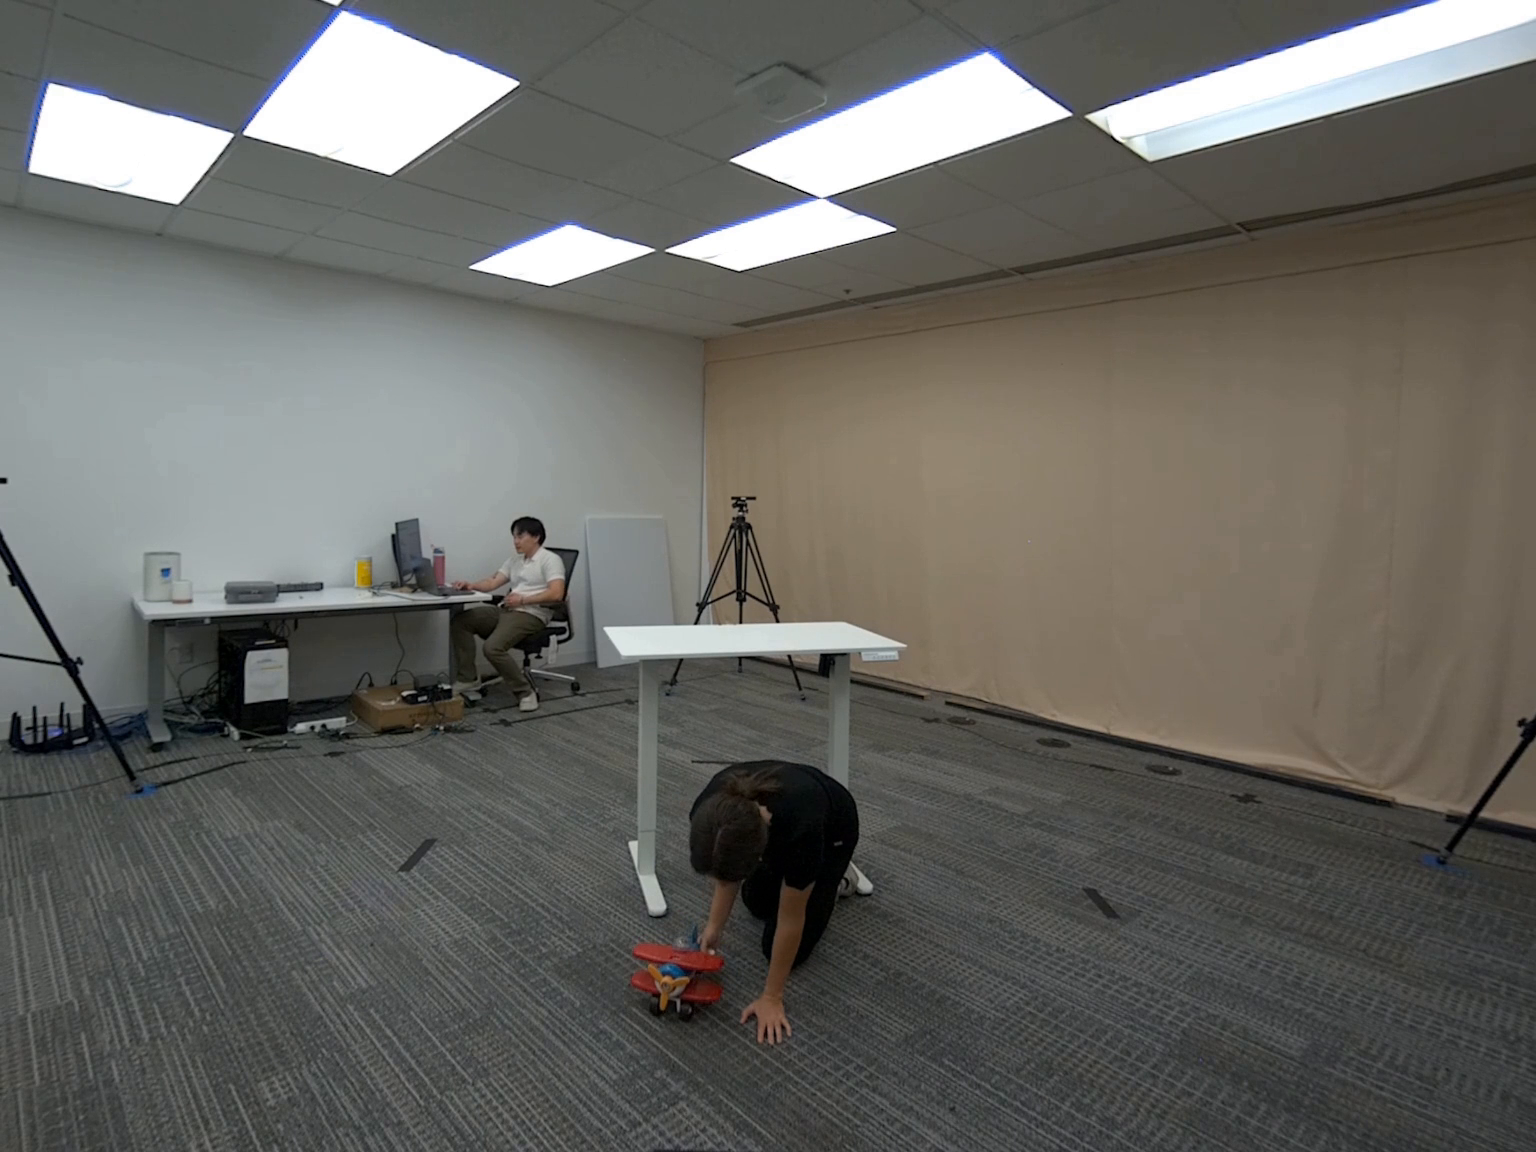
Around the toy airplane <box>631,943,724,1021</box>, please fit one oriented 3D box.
[{"bbox_3d":[-0.264,1.093,2.321,0.249,0.155,0.264,-3,15,-13],"label":"toy airplane"}]
